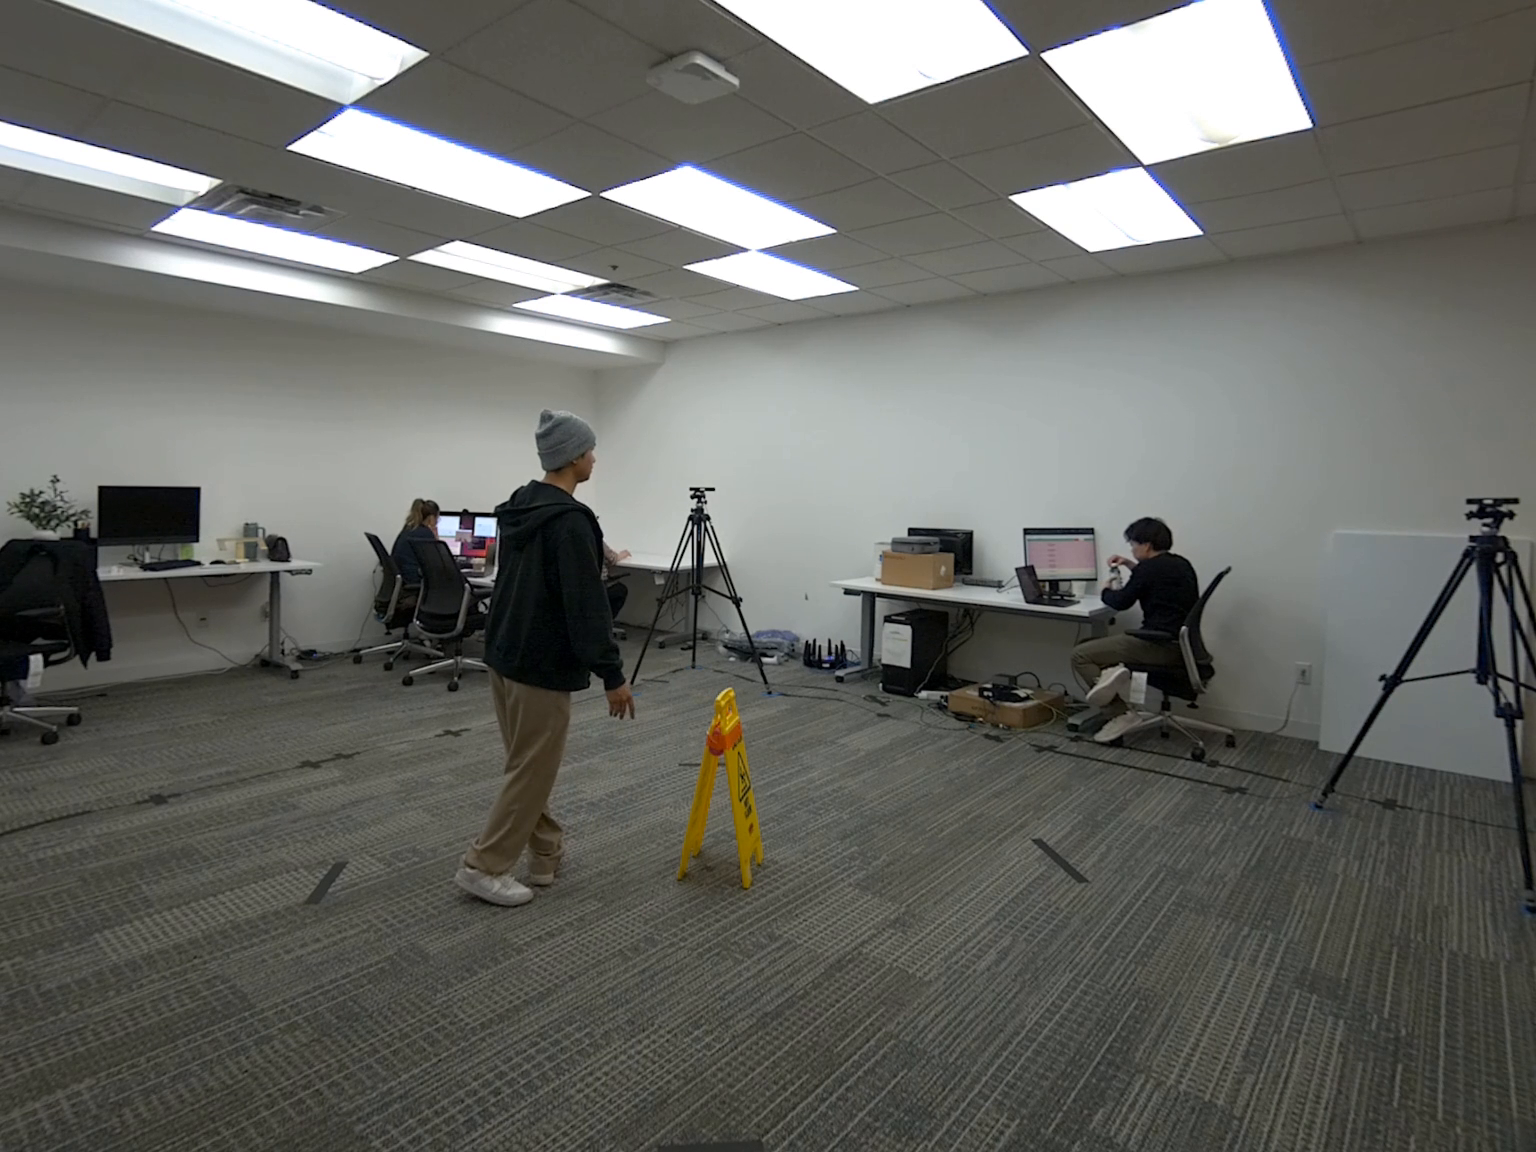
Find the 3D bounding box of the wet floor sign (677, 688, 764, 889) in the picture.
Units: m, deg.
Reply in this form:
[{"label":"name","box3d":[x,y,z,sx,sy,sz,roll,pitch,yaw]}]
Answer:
[{"label":"wet floor sign","box3d":[-0.170,0.748,3.091,0.294,0.643,0.279,3,5,13]}]
